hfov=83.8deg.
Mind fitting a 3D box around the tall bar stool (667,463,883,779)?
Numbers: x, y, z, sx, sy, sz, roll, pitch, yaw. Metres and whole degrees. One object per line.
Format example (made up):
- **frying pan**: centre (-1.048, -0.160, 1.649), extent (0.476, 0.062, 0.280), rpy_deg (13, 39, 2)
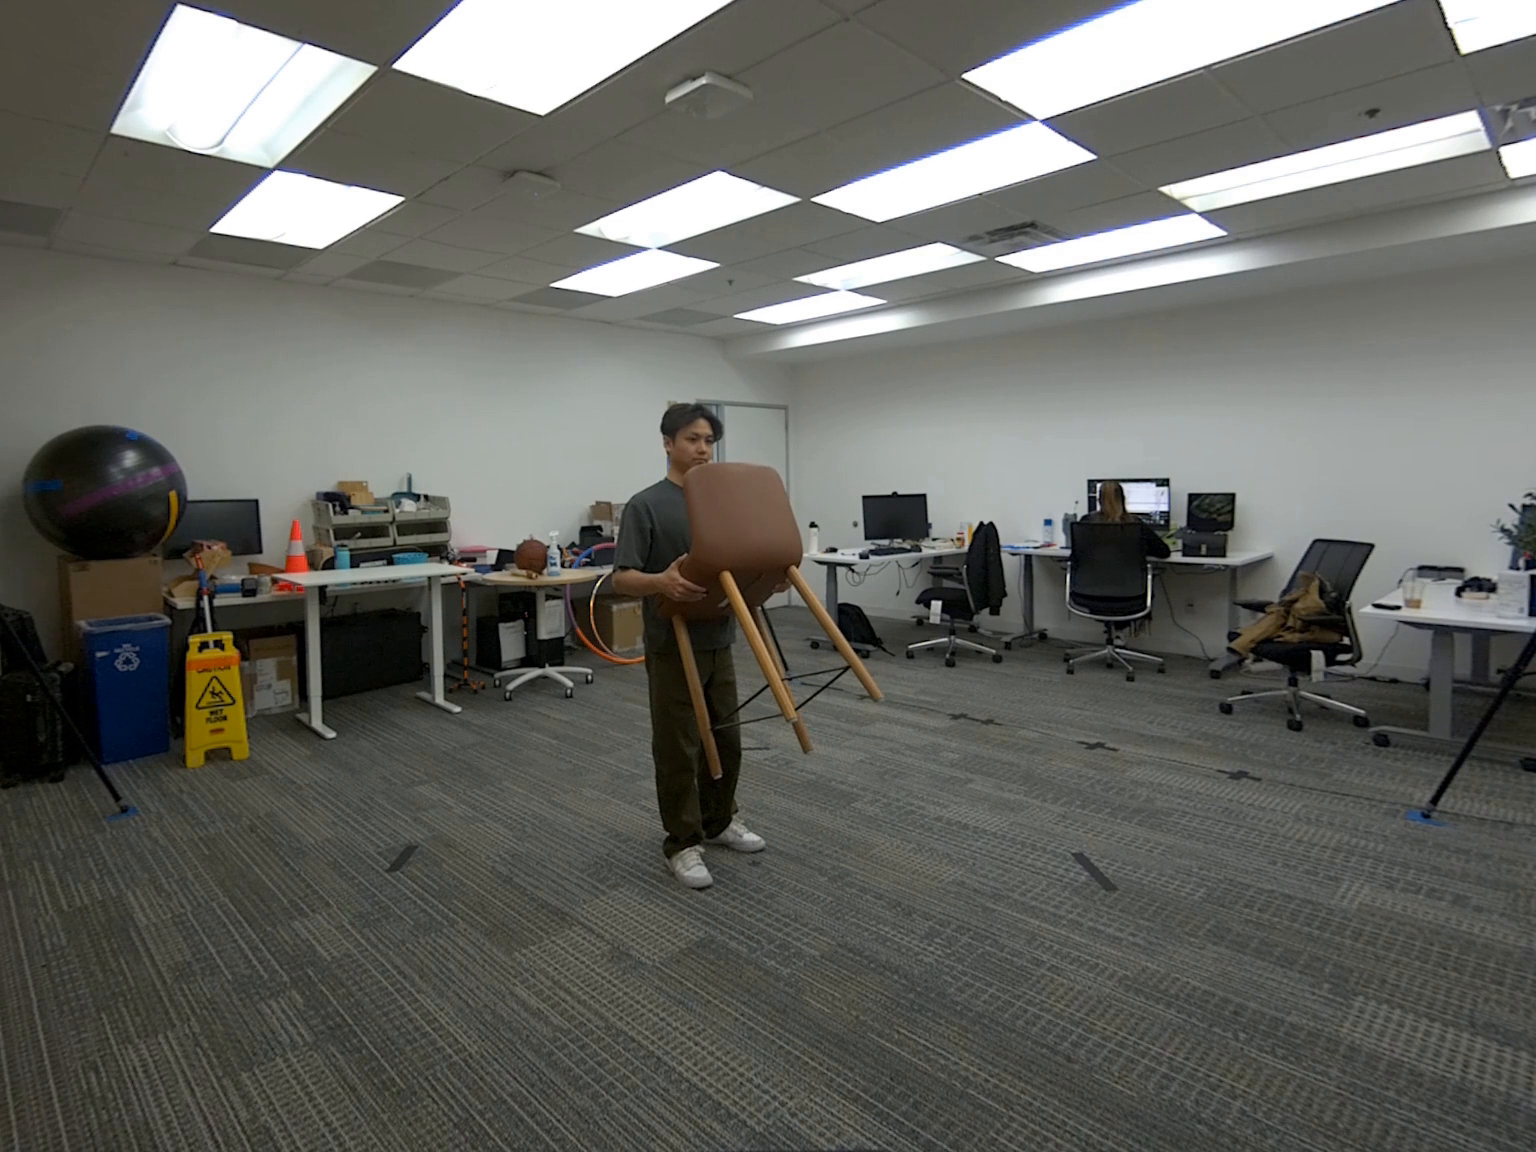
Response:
- **tall bar stool**: centre (-0.064, 0.125, 2.808), extent (0.445, 0.913, 0.468), rpy_deg (-4, -28, -37)
